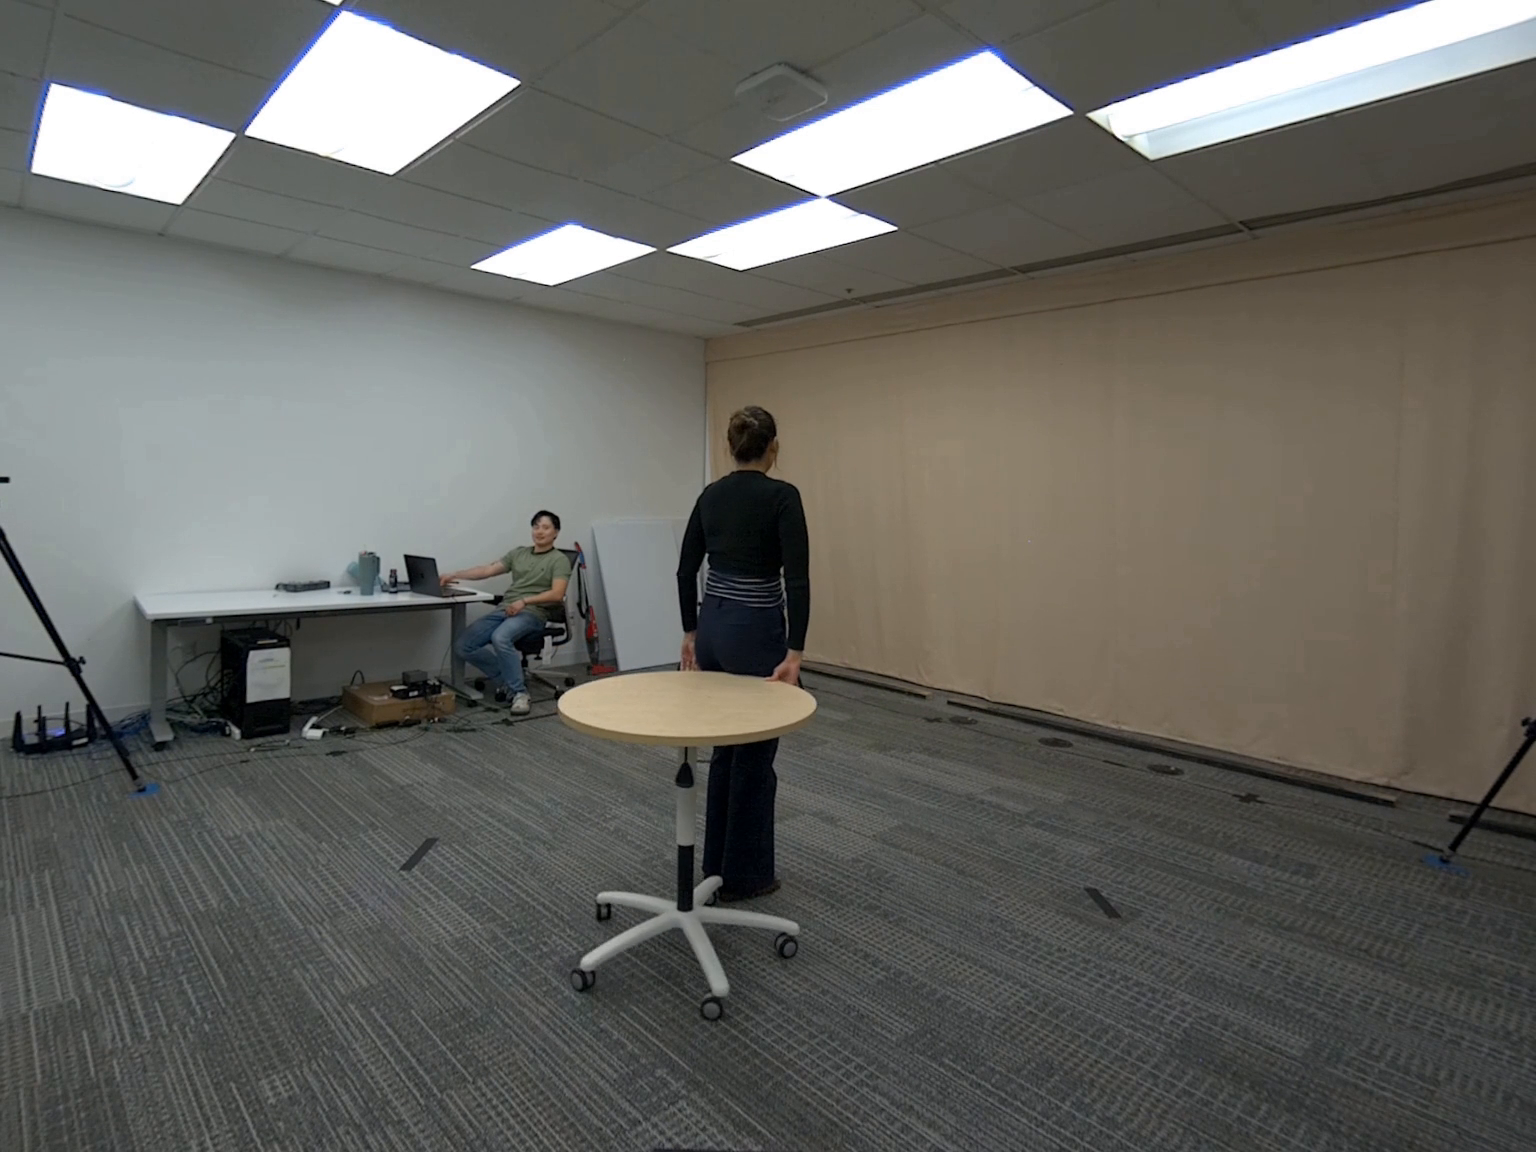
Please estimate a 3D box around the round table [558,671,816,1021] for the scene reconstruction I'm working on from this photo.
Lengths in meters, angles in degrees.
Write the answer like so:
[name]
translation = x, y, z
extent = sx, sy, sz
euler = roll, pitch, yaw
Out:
[round table]
translation = -0.253, 0.765, 2.538
extent = 0.763, 0.791, 0.767
euler = 1, 5, -1
